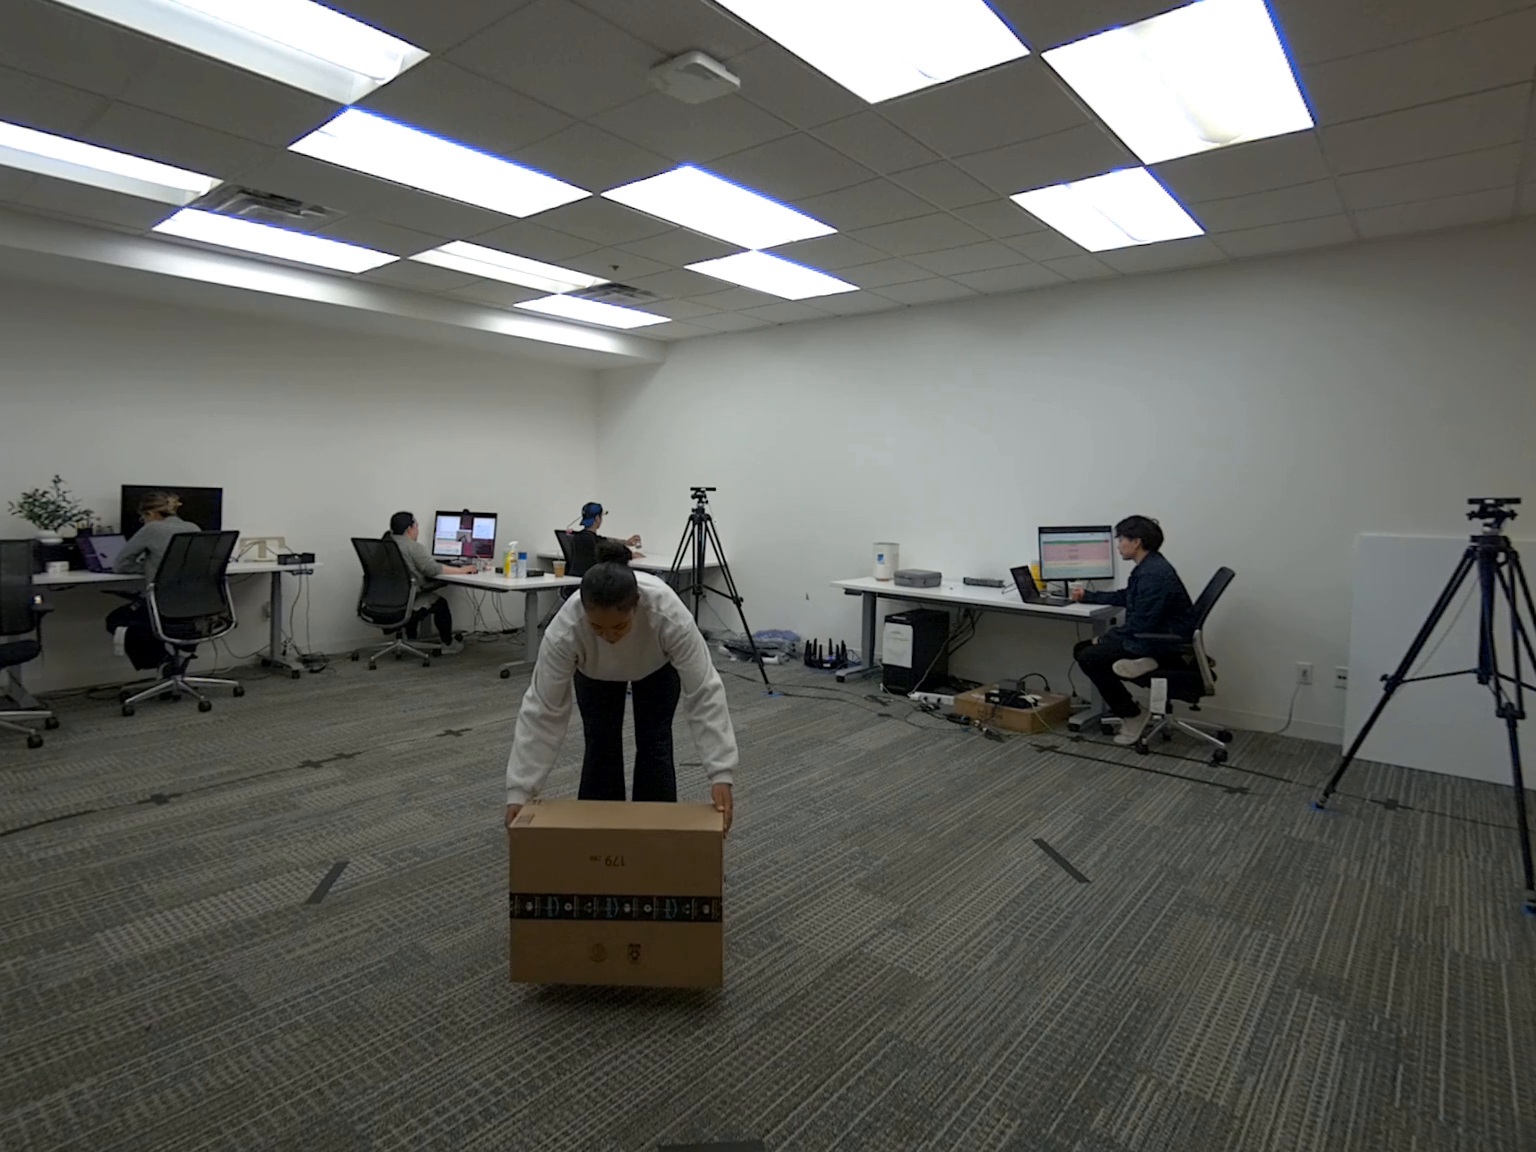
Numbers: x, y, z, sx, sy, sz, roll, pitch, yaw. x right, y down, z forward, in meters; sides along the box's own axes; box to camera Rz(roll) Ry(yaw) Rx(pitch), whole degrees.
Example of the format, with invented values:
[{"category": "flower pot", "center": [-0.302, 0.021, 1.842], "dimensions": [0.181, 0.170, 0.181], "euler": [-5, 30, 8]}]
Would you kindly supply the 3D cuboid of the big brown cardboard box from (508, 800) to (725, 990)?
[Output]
[{"category": "big brown cardboard box", "center": [-0.417, 0.856, 2.333], "dimensions": [0.591, 0.417, 0.233], "euler": [2, 1, 3]}]
